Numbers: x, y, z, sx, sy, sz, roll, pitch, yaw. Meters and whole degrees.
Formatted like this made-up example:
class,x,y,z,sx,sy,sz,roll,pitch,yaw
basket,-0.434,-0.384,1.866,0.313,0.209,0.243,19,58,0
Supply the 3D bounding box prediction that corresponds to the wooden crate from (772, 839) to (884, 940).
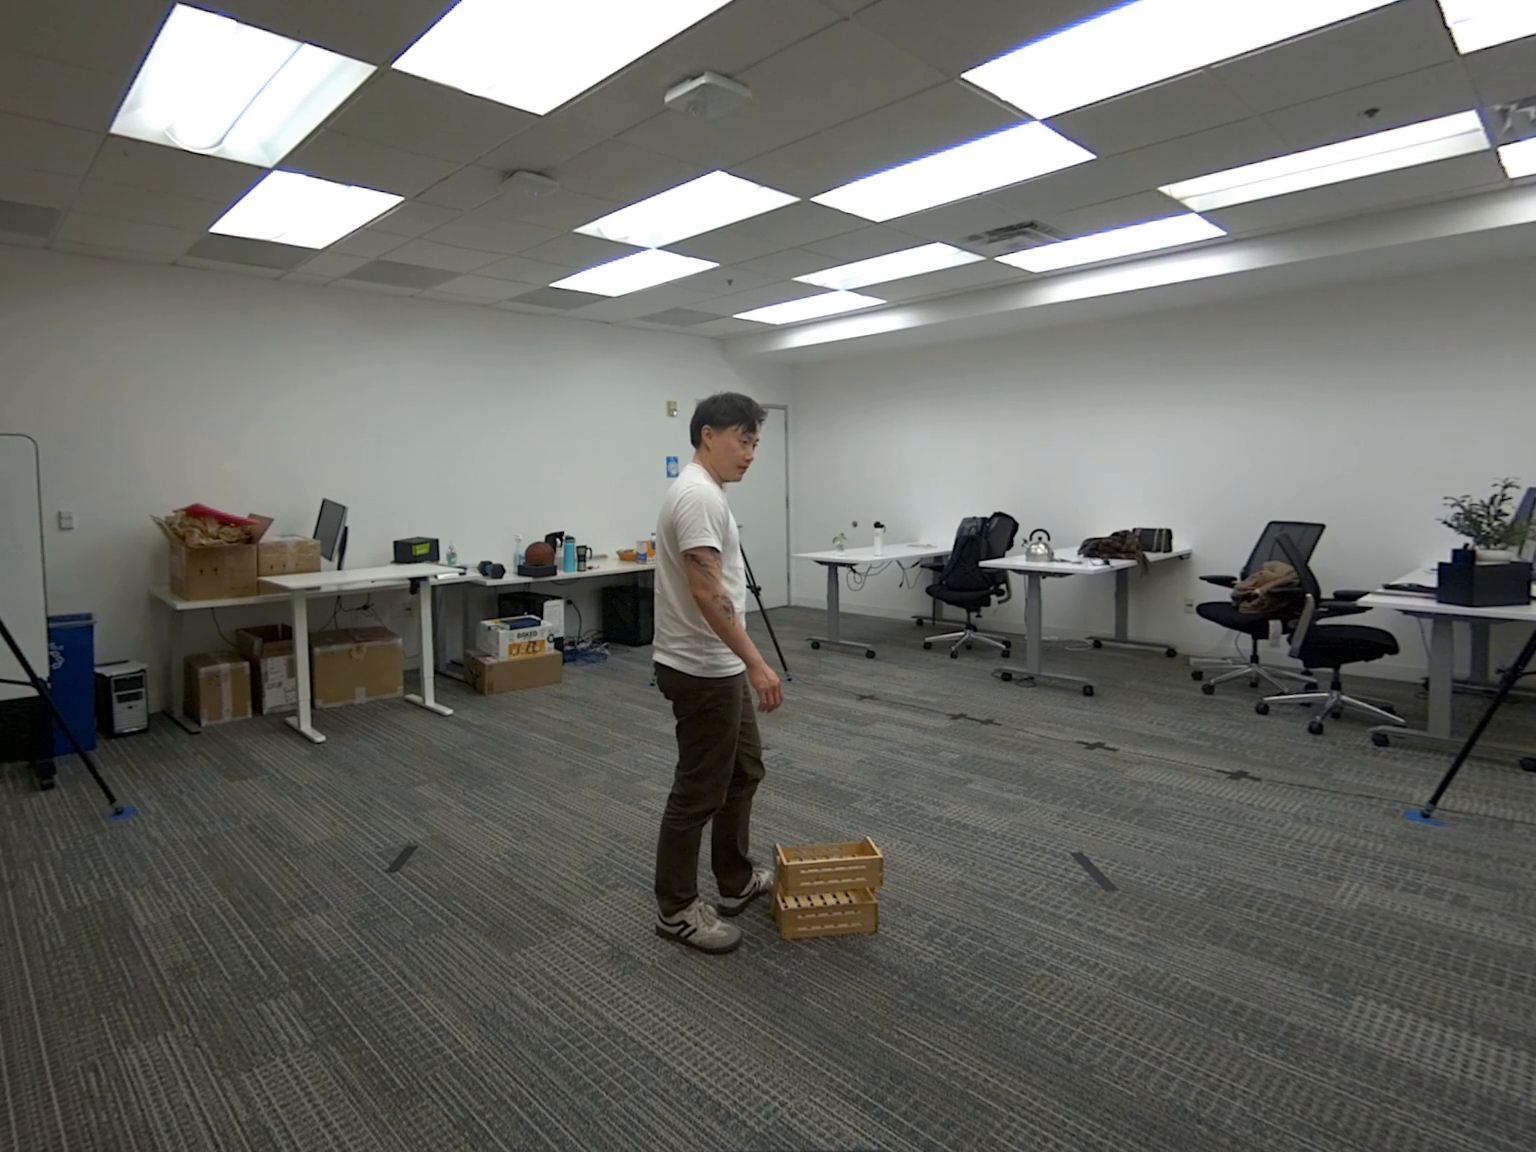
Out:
class,x,y,z,sx,sy,sz,roll,pitch,yaw
wooden crate,0.171,0.947,2.701,0.322,0.272,0.306,-2,6,-9
